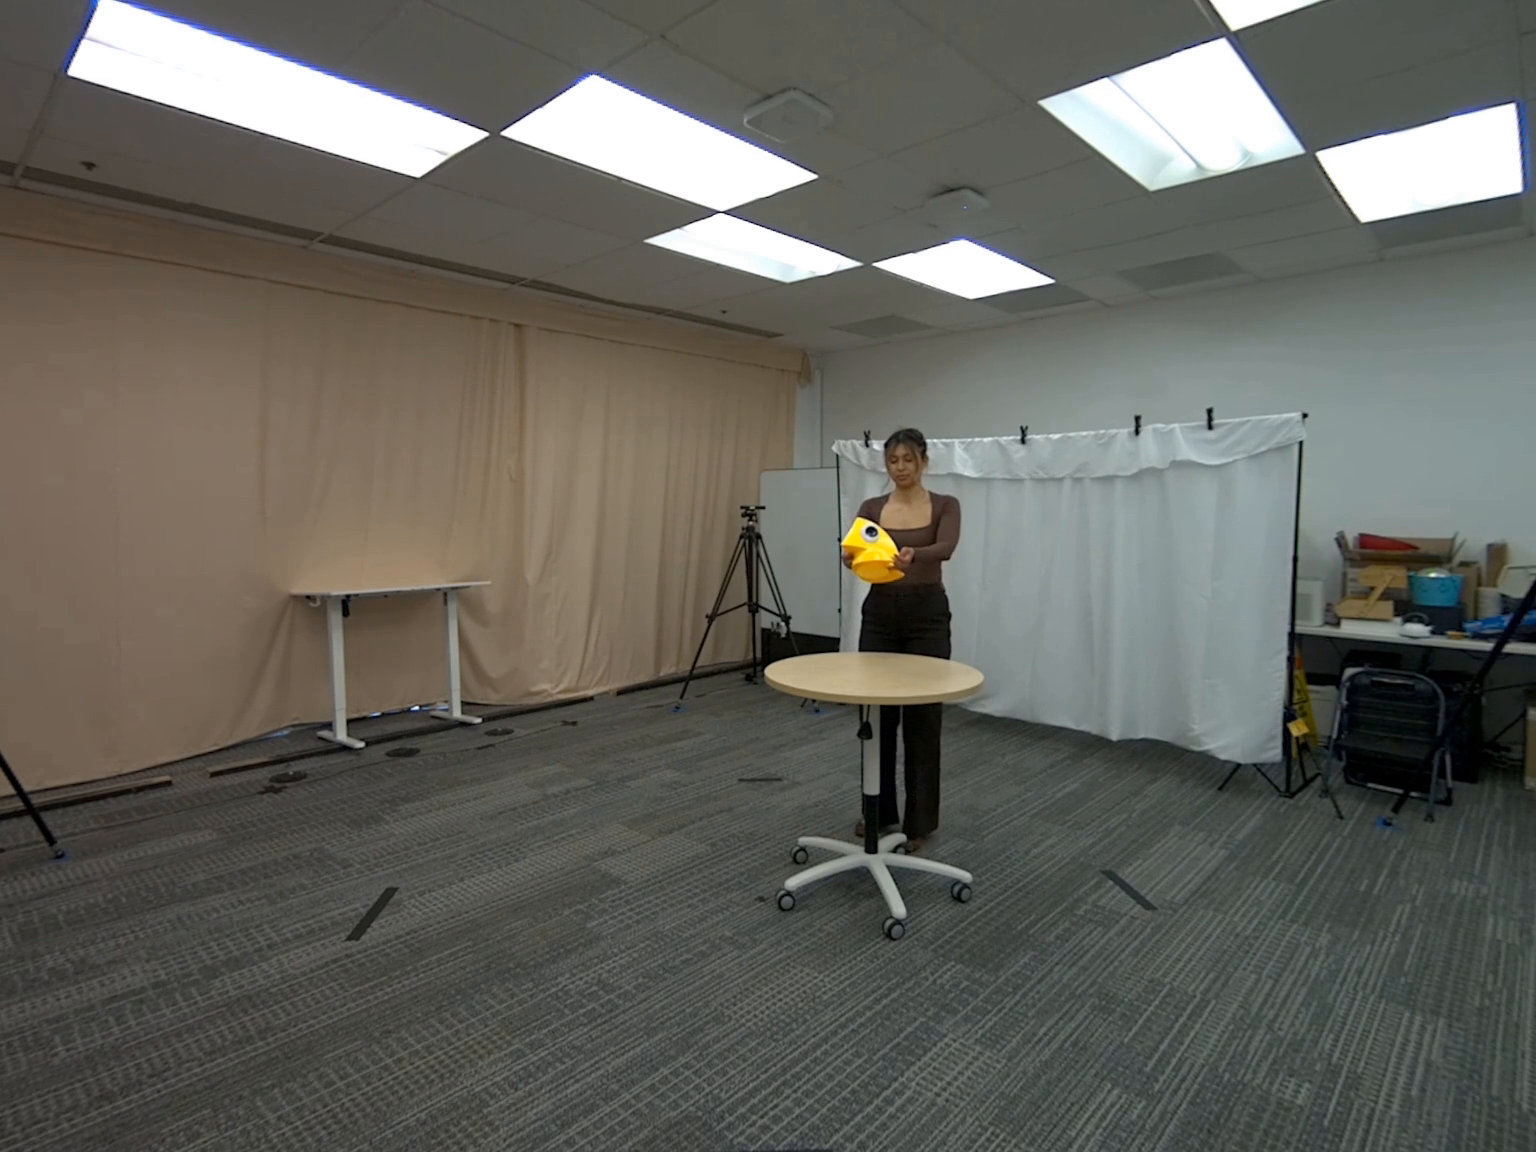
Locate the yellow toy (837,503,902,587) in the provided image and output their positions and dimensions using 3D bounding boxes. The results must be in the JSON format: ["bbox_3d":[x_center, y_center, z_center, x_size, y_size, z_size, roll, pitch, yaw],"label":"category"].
[{"bbox_3d":[0.382,-0.119,3.082,0.197,0.234,0.197,-10,-26,25],"label":"yellow toy"}]
